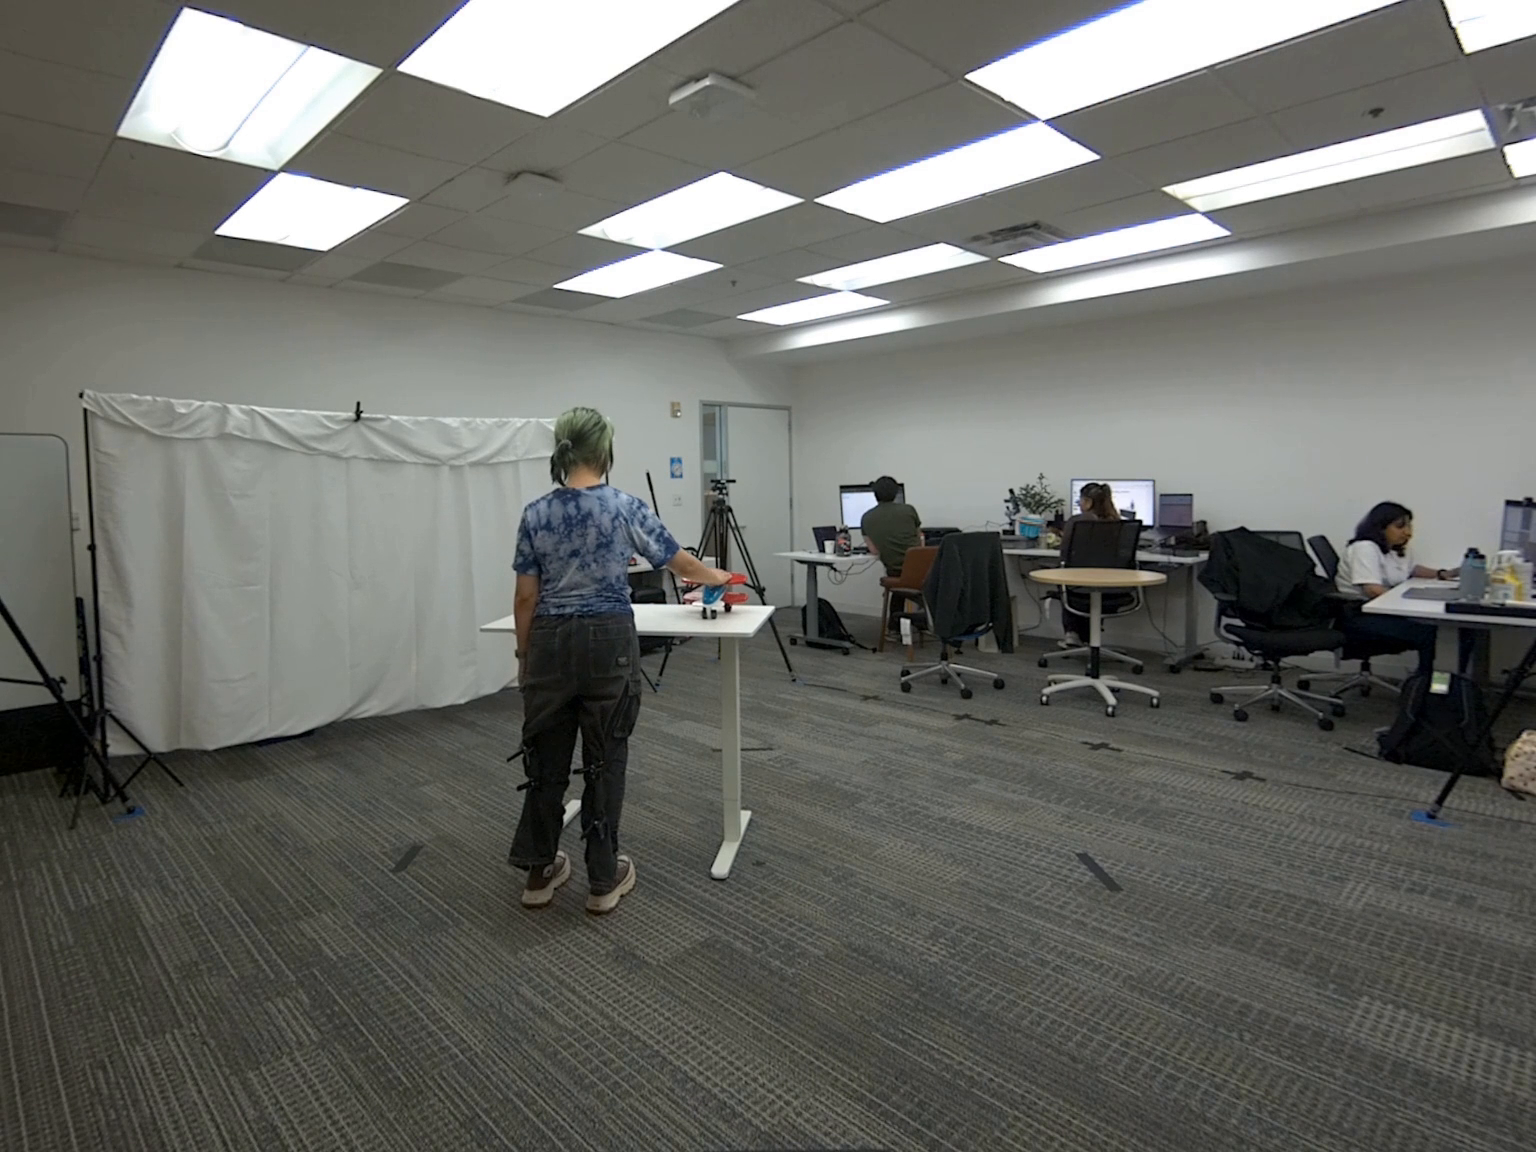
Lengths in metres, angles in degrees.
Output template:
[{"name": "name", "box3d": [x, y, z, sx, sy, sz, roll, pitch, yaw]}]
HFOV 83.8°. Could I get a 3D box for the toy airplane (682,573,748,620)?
[{"name": "toy airplane", "box3d": [-0.192, 0.073, 3.273, 0.246, 0.156, 0.265, -2, 4, -22]}]
